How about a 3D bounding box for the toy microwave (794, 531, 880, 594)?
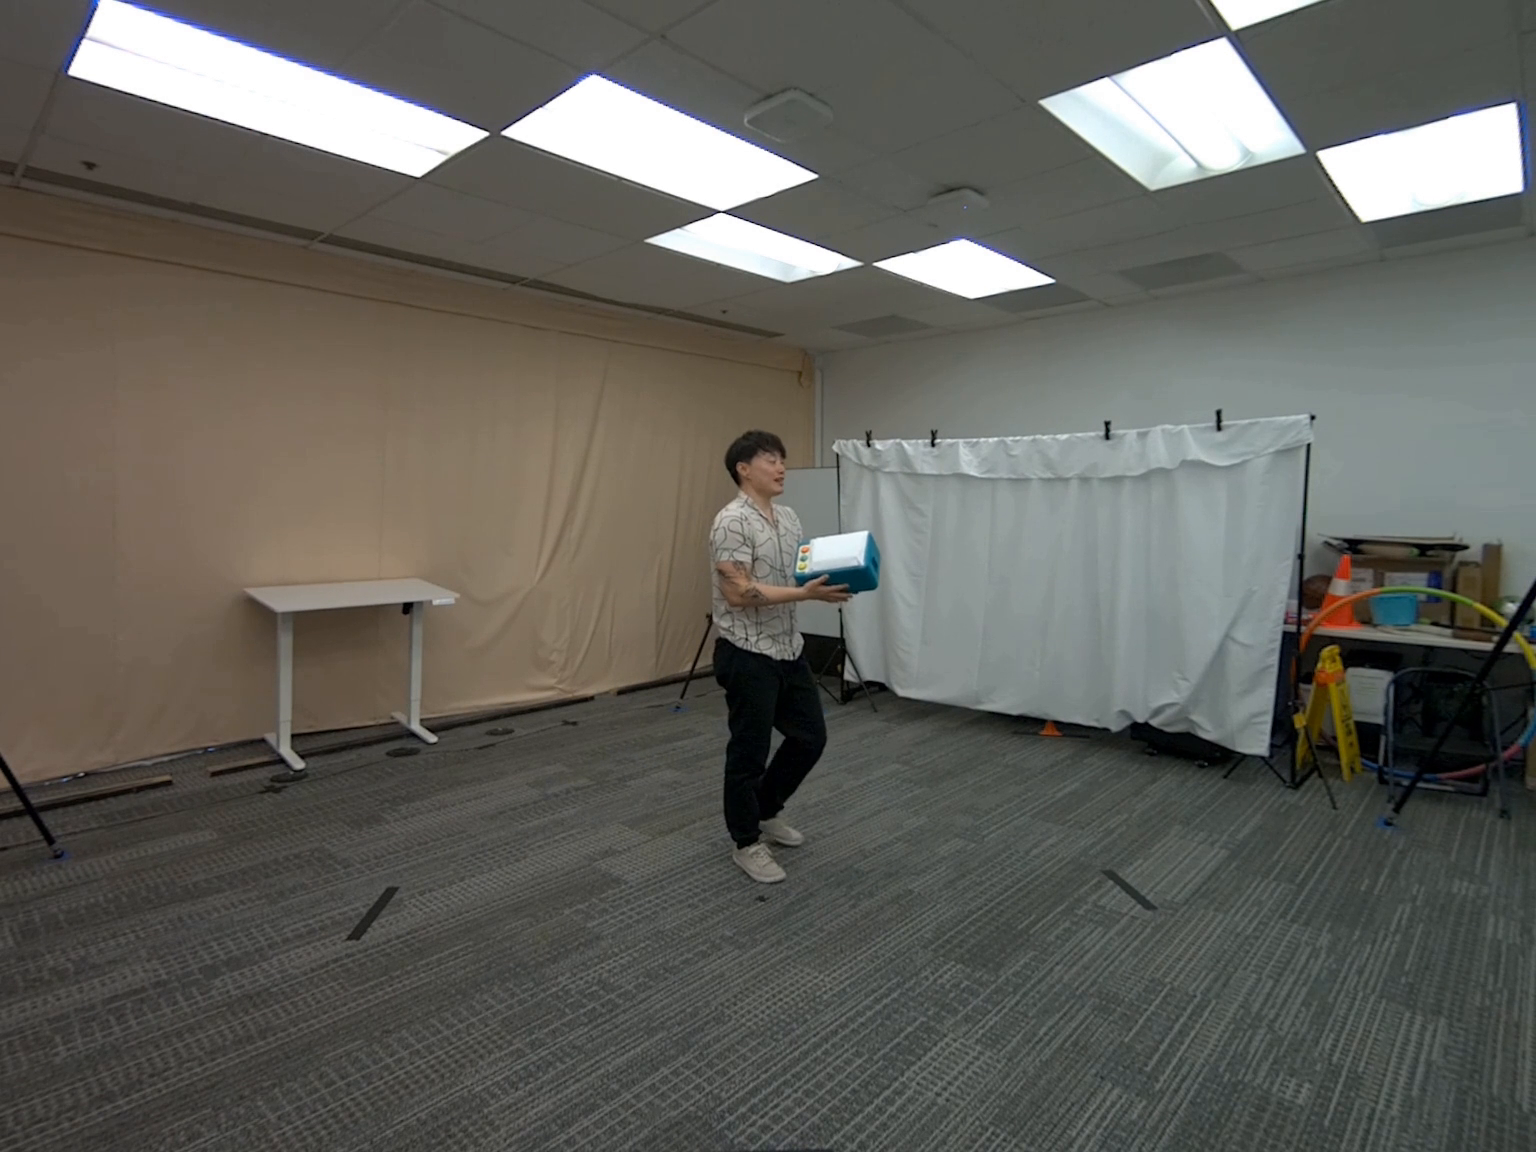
[{"bbox_3d":[0.255,-0.045,2.997,0.292,0.186,0.147,-9,-43,24],"label":"toy microwave"}]
